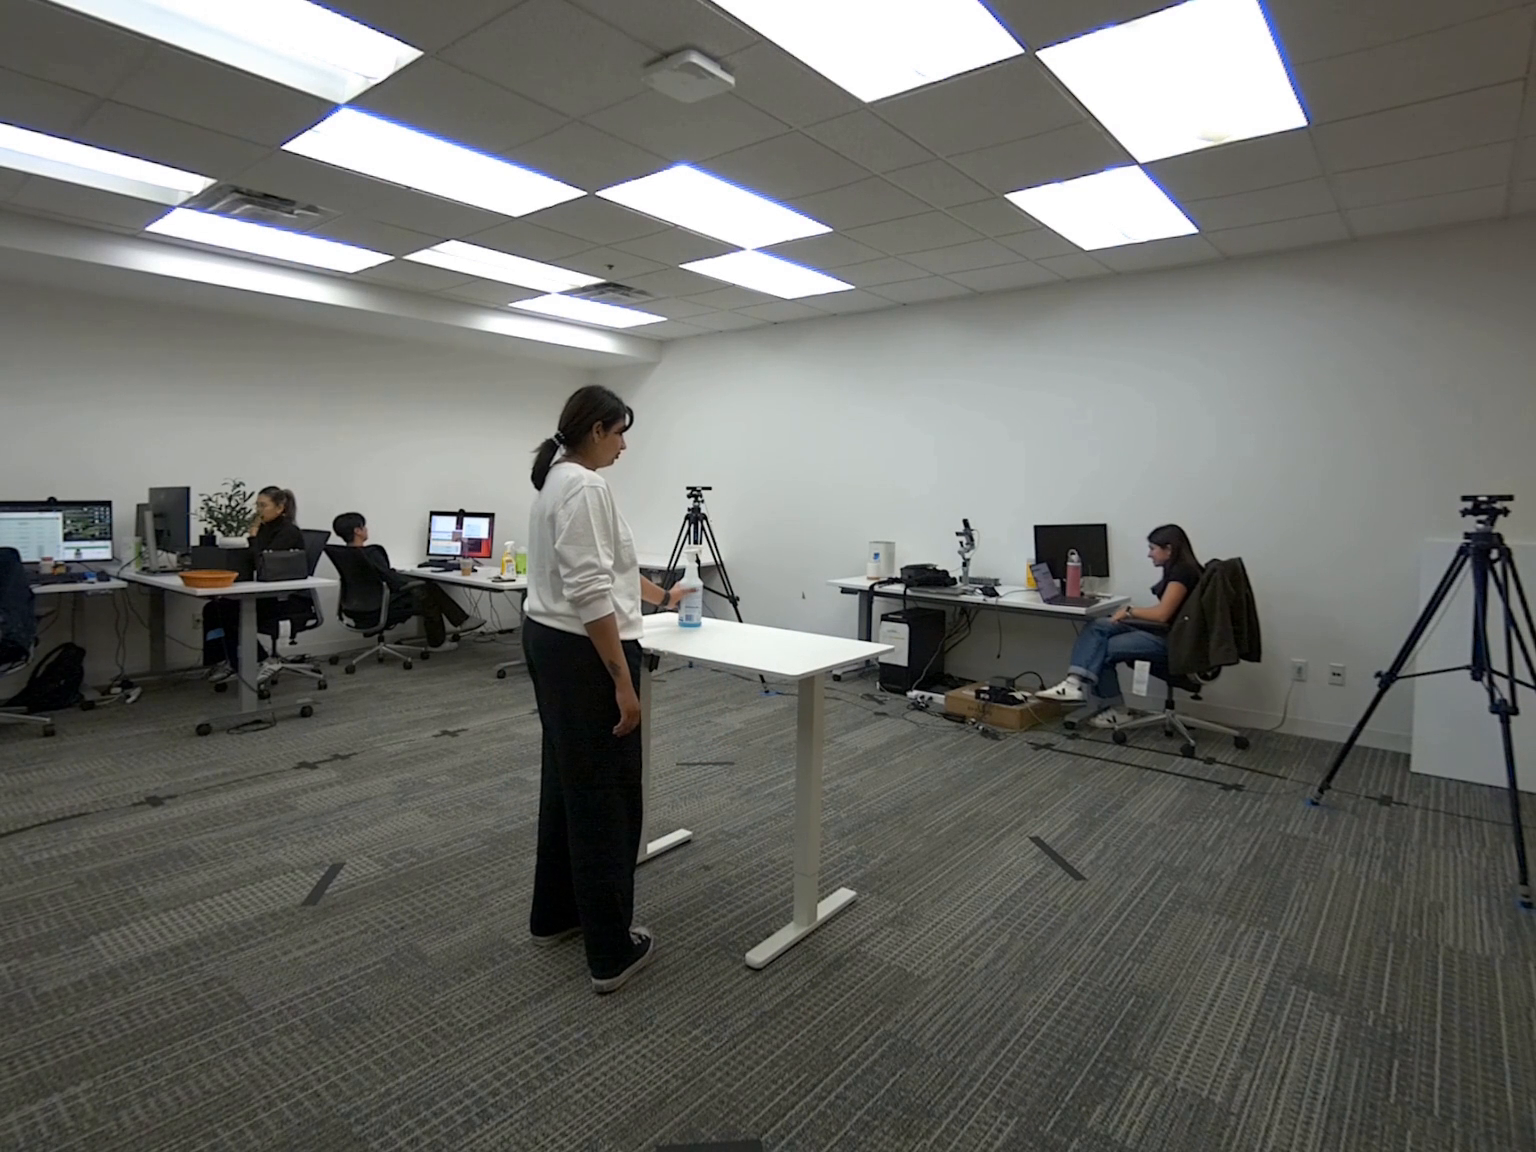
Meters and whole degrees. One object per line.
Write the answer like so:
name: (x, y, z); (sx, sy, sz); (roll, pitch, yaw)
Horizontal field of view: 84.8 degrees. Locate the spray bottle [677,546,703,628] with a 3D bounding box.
spray bottle: (-0.277, 0.035, 3.098); (0.085, 0.296, 0.092); (2, 5, -24)
